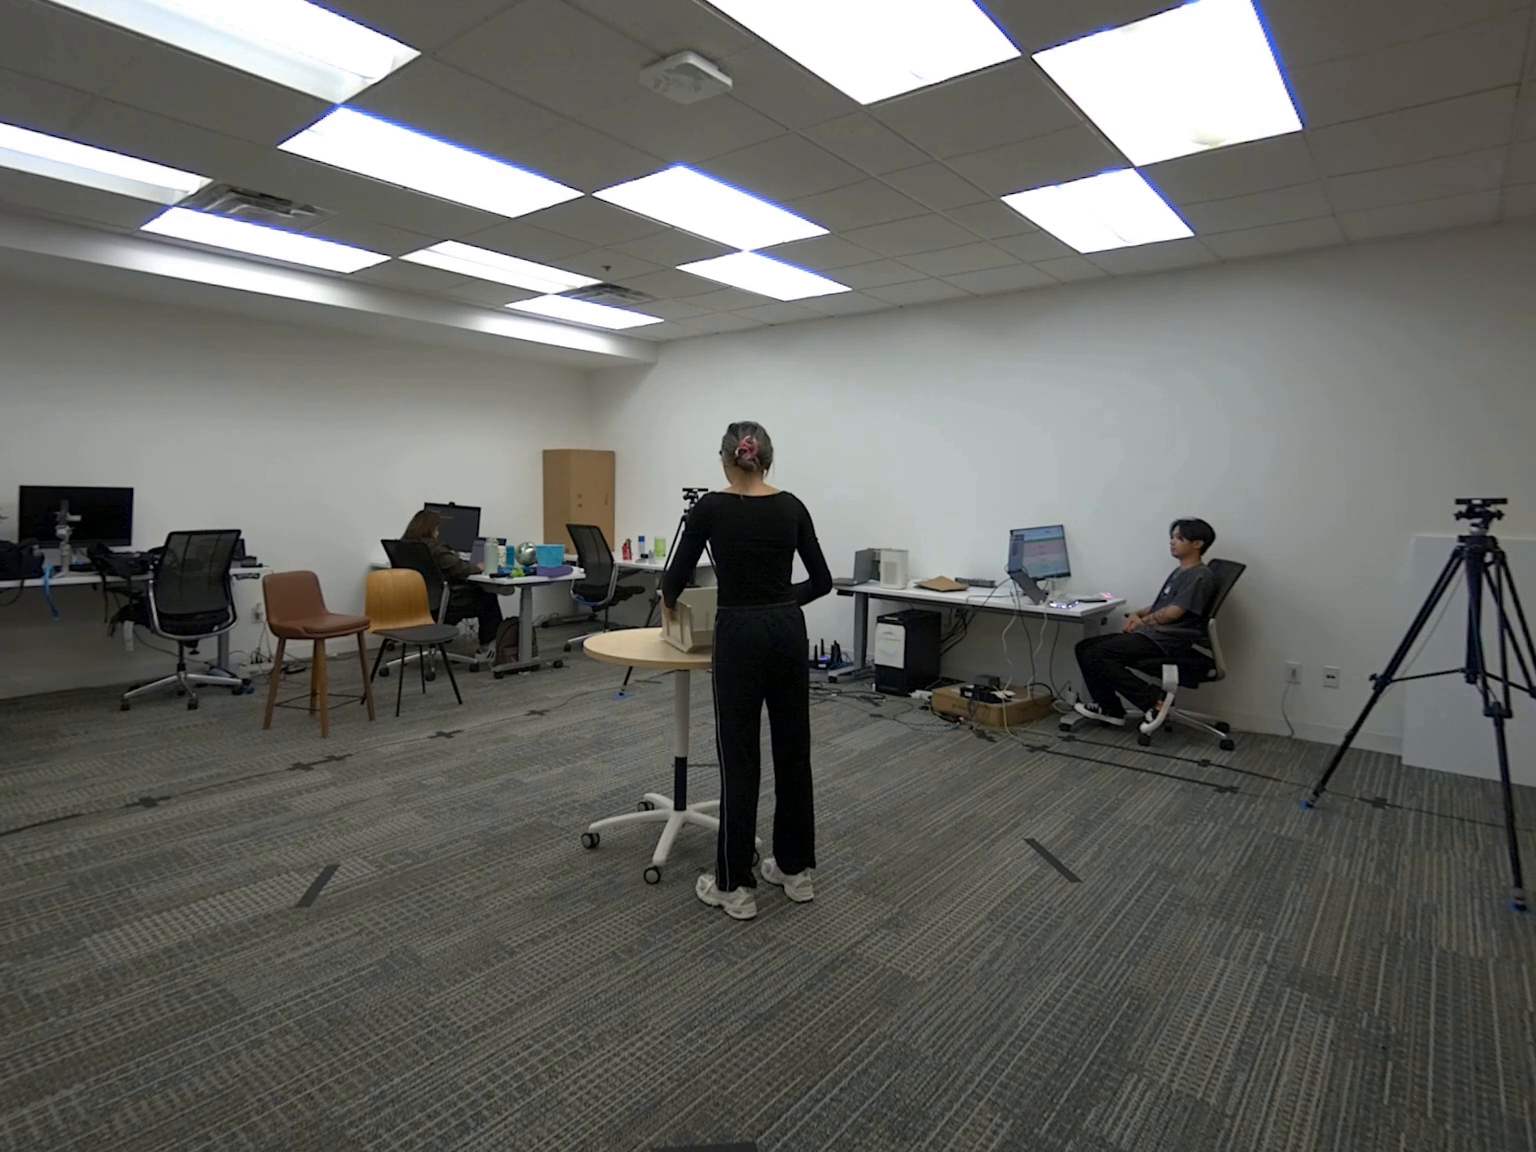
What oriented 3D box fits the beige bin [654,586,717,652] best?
[{"bbox_3d":[-0.181,0.150,3.260,0.413,0.188,0.387,-3,5,-23],"label":"beige bin"}]
